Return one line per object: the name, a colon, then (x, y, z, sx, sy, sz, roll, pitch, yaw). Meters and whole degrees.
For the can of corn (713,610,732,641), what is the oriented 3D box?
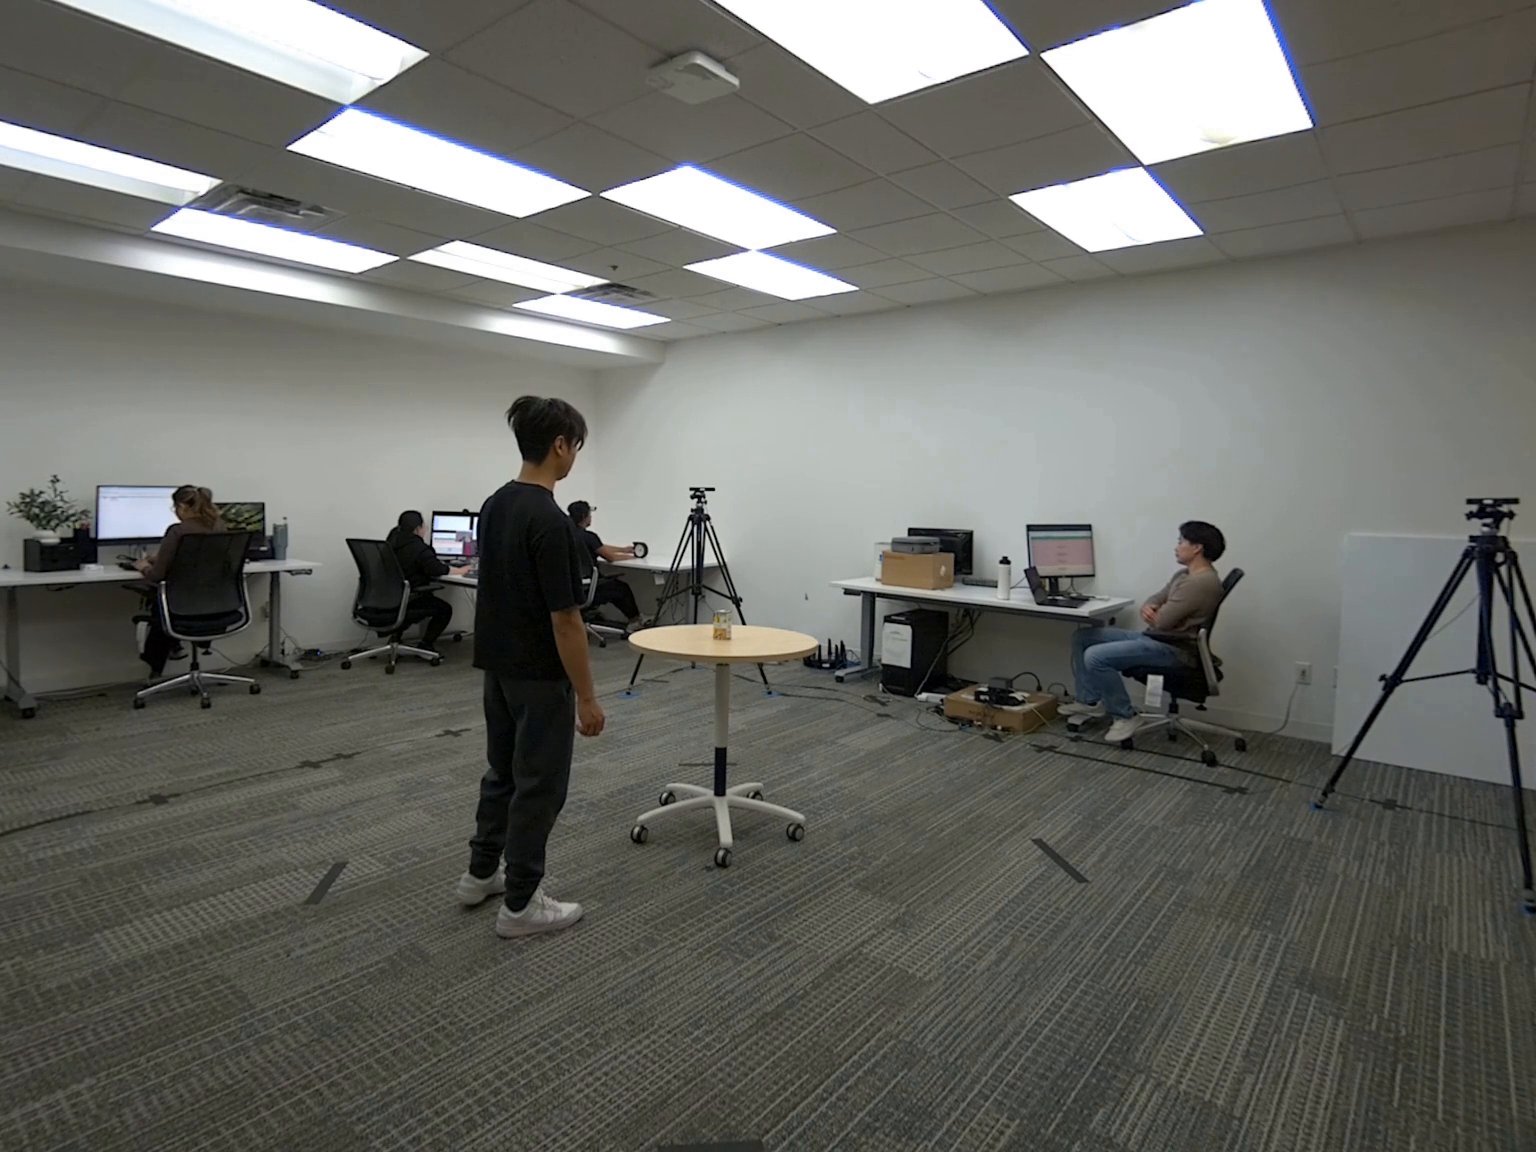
can of corn: (-0.197, 0.195, 3.453, 0.074, 0.111, 0.074, 2, 2, -2)
